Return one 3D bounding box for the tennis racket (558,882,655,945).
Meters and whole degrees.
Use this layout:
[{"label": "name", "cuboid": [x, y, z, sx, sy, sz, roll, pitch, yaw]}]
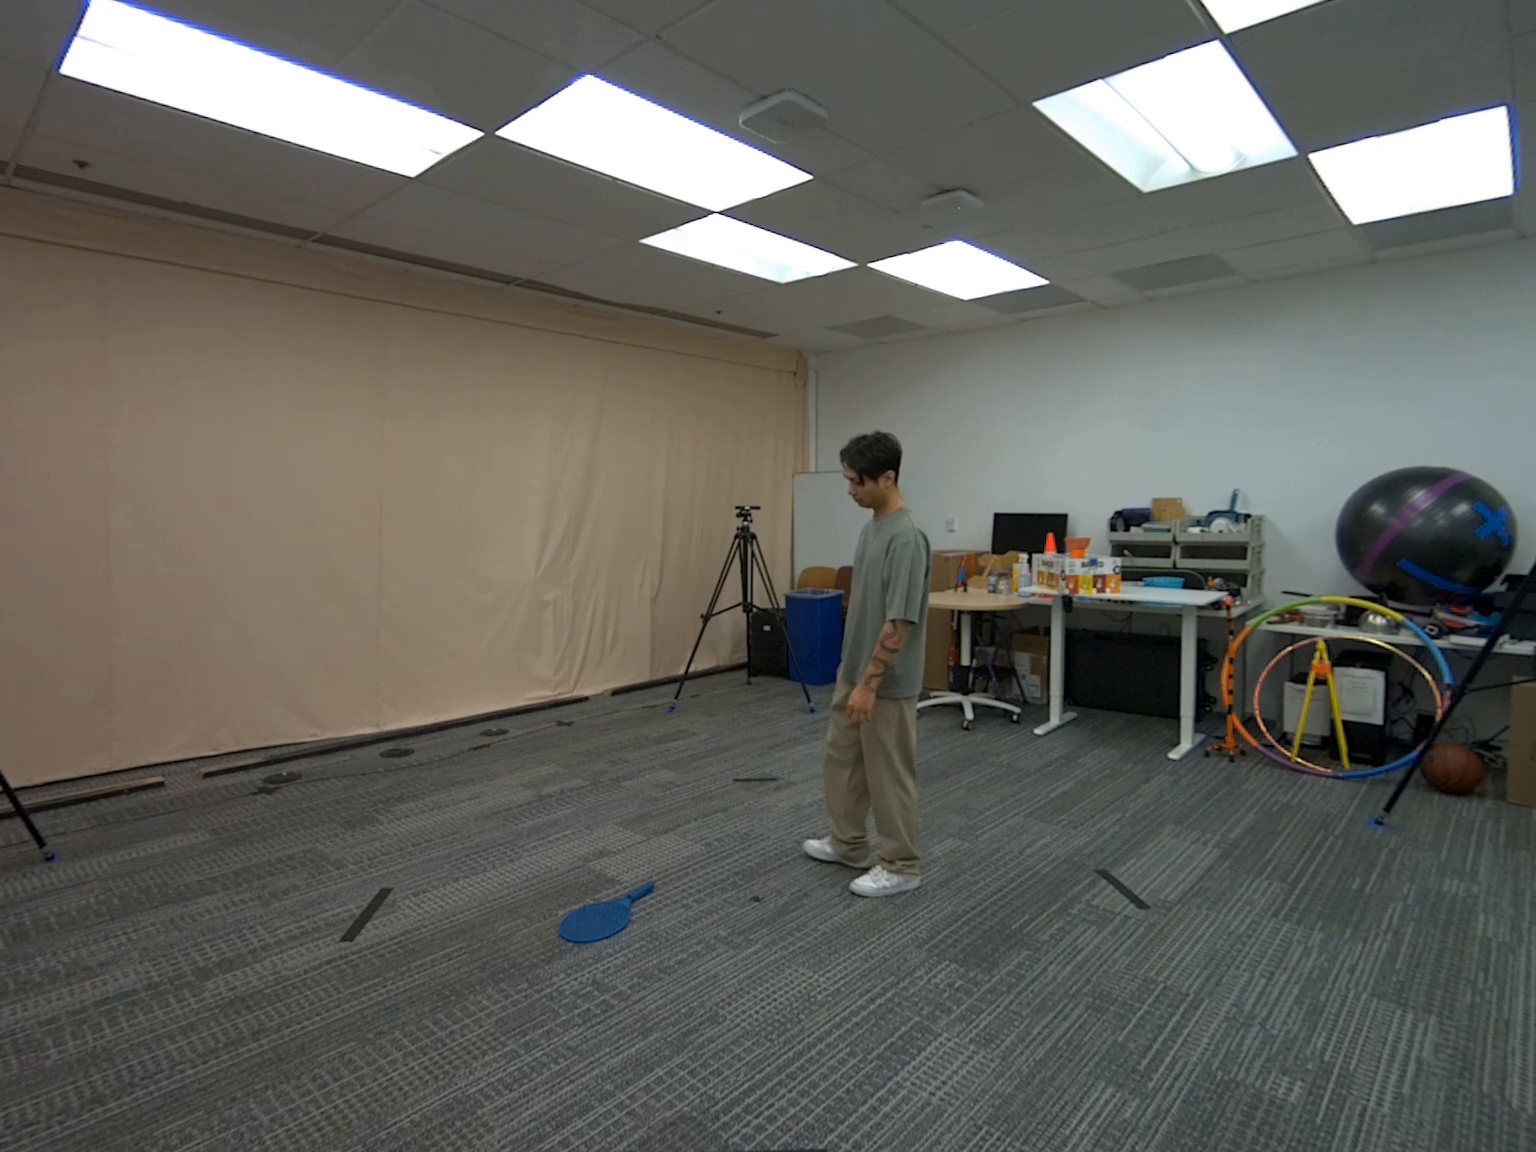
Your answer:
[{"label": "tennis racket", "cuboid": [-0.532, 1.141, 2.879, 0.220, 0.031, 0.422, 3, 7, 31]}]
